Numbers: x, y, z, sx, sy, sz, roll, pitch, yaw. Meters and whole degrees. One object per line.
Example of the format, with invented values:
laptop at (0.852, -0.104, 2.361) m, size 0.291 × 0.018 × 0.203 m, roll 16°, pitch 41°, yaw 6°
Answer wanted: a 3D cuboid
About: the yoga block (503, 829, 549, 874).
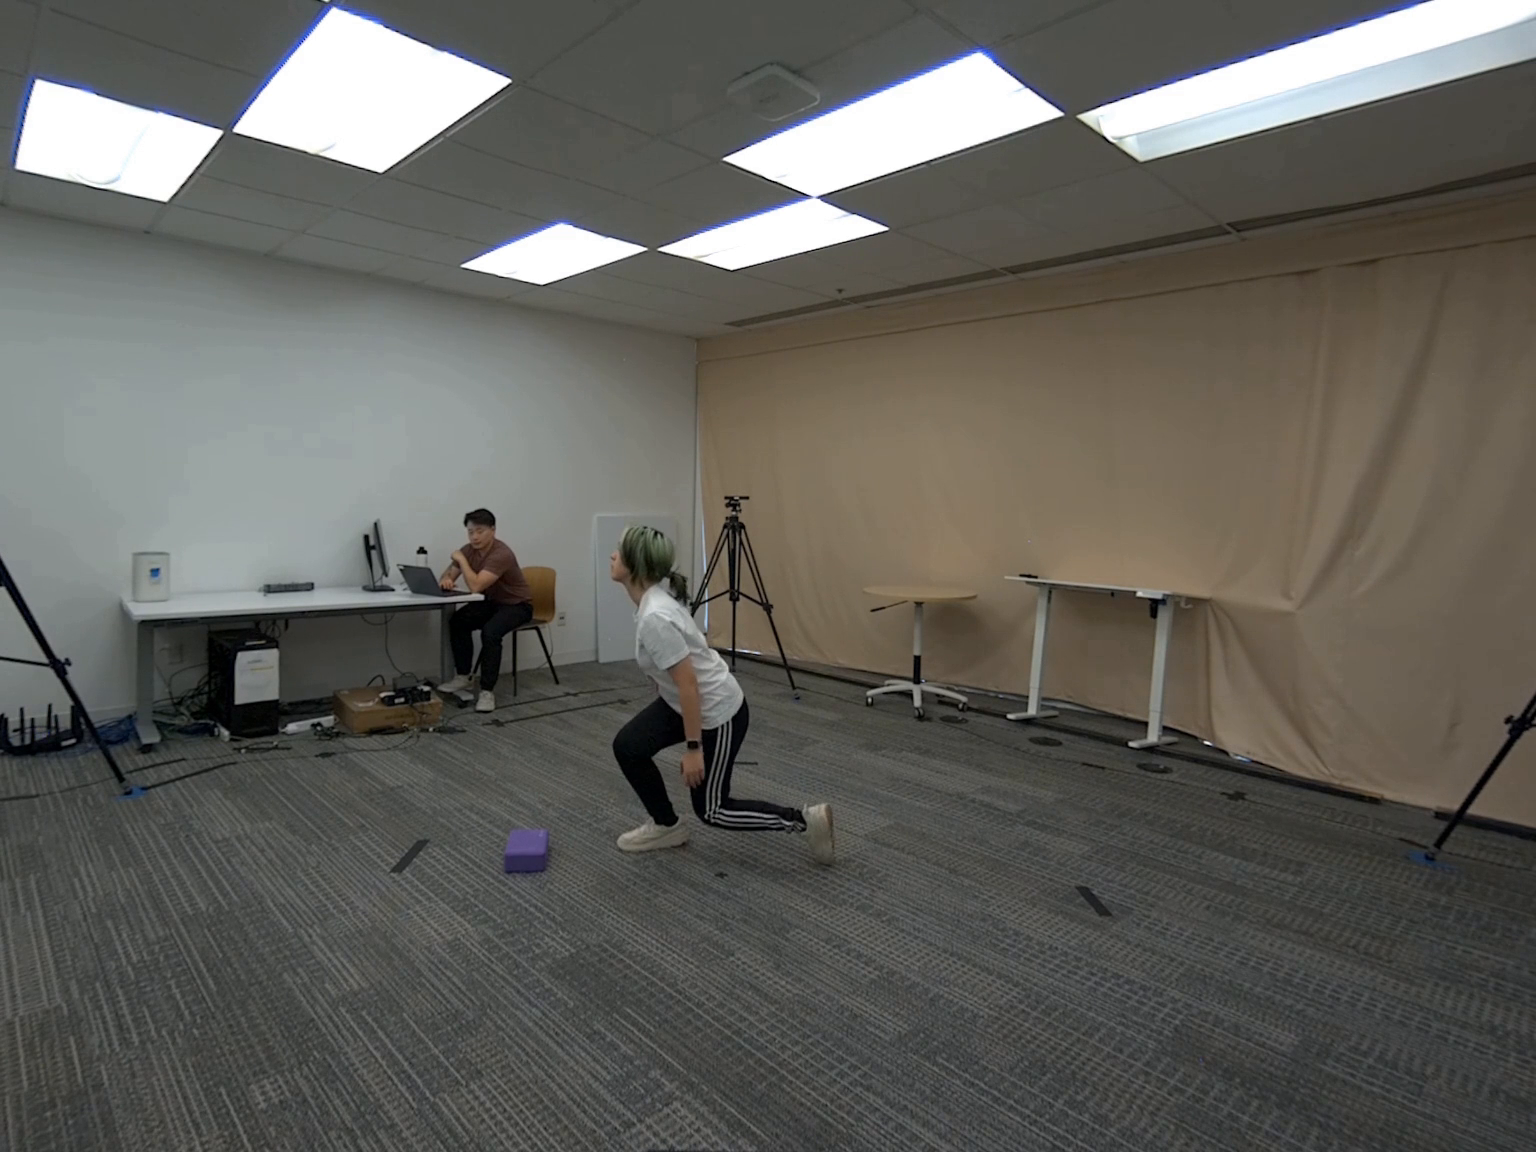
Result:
yoga block at (-0.921, 1.041, 3.192) m, size 0.148 × 0.076 × 0.232 m, roll 0°, pitch 6°, yaw -10°
